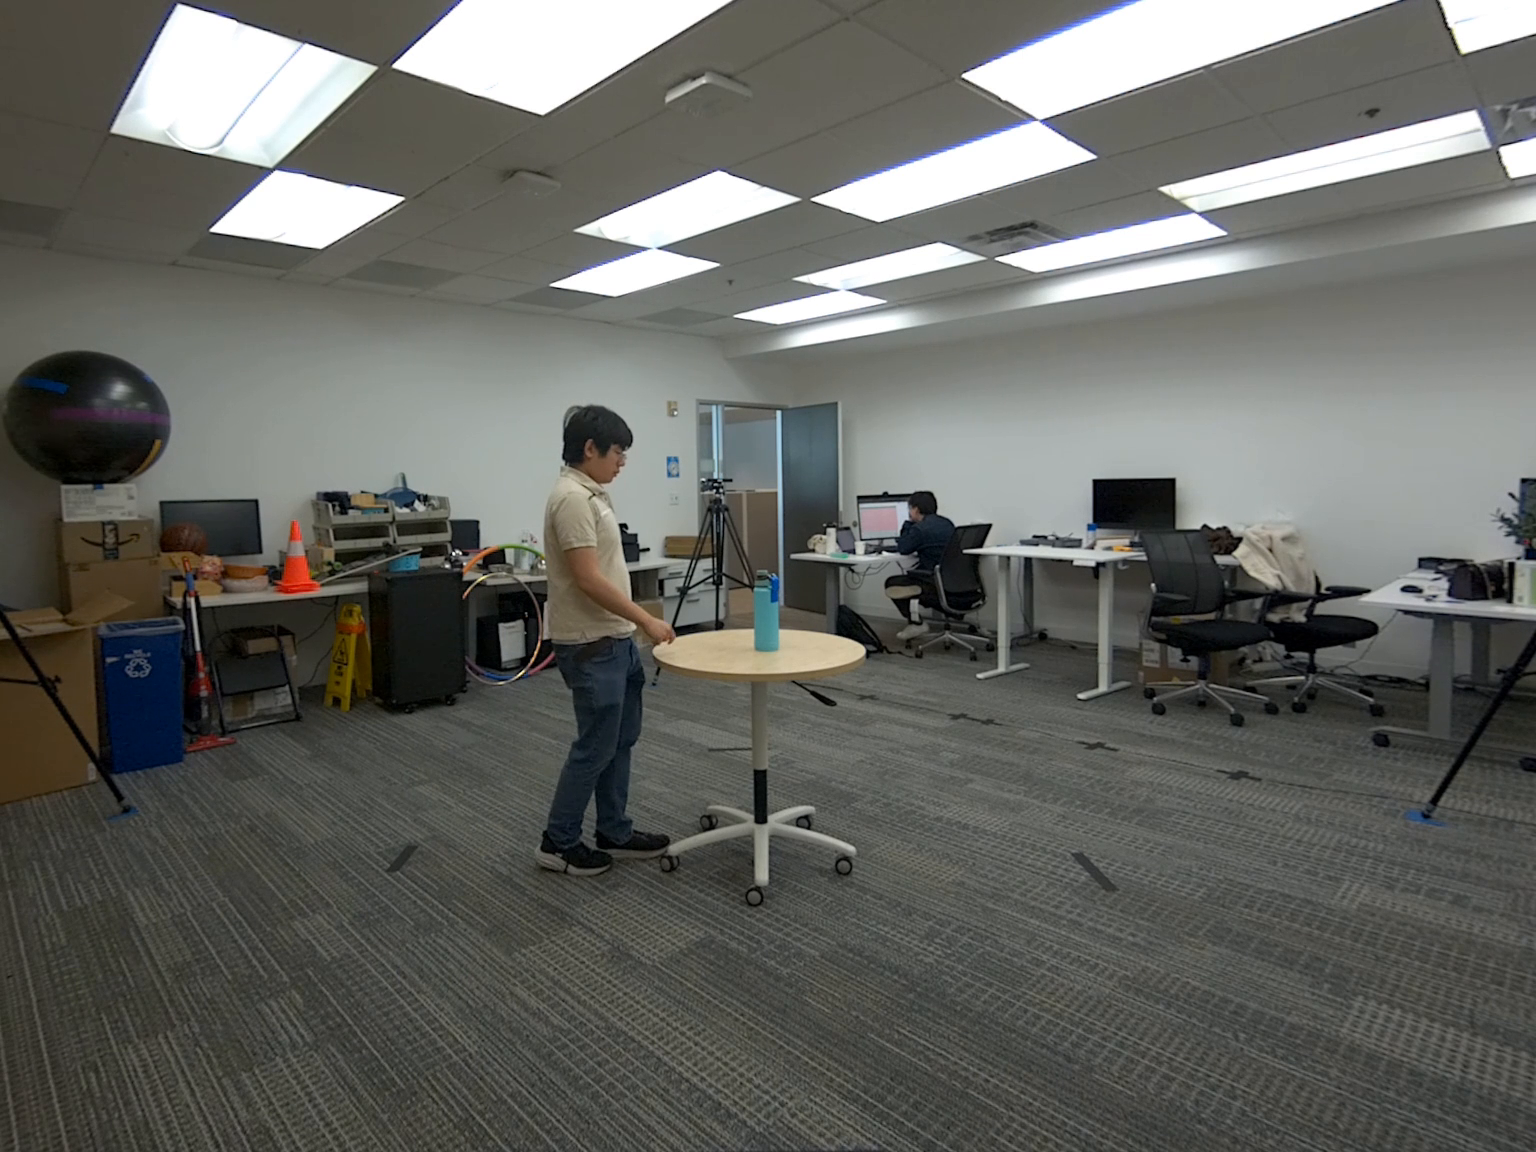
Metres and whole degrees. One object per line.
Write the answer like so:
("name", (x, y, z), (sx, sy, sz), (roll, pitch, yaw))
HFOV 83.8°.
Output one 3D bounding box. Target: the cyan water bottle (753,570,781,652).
("cyan water bottle", (-0.011, 0.123, 3.067), (0.092, 0.282, 0.093), (-2, 5, -1))
